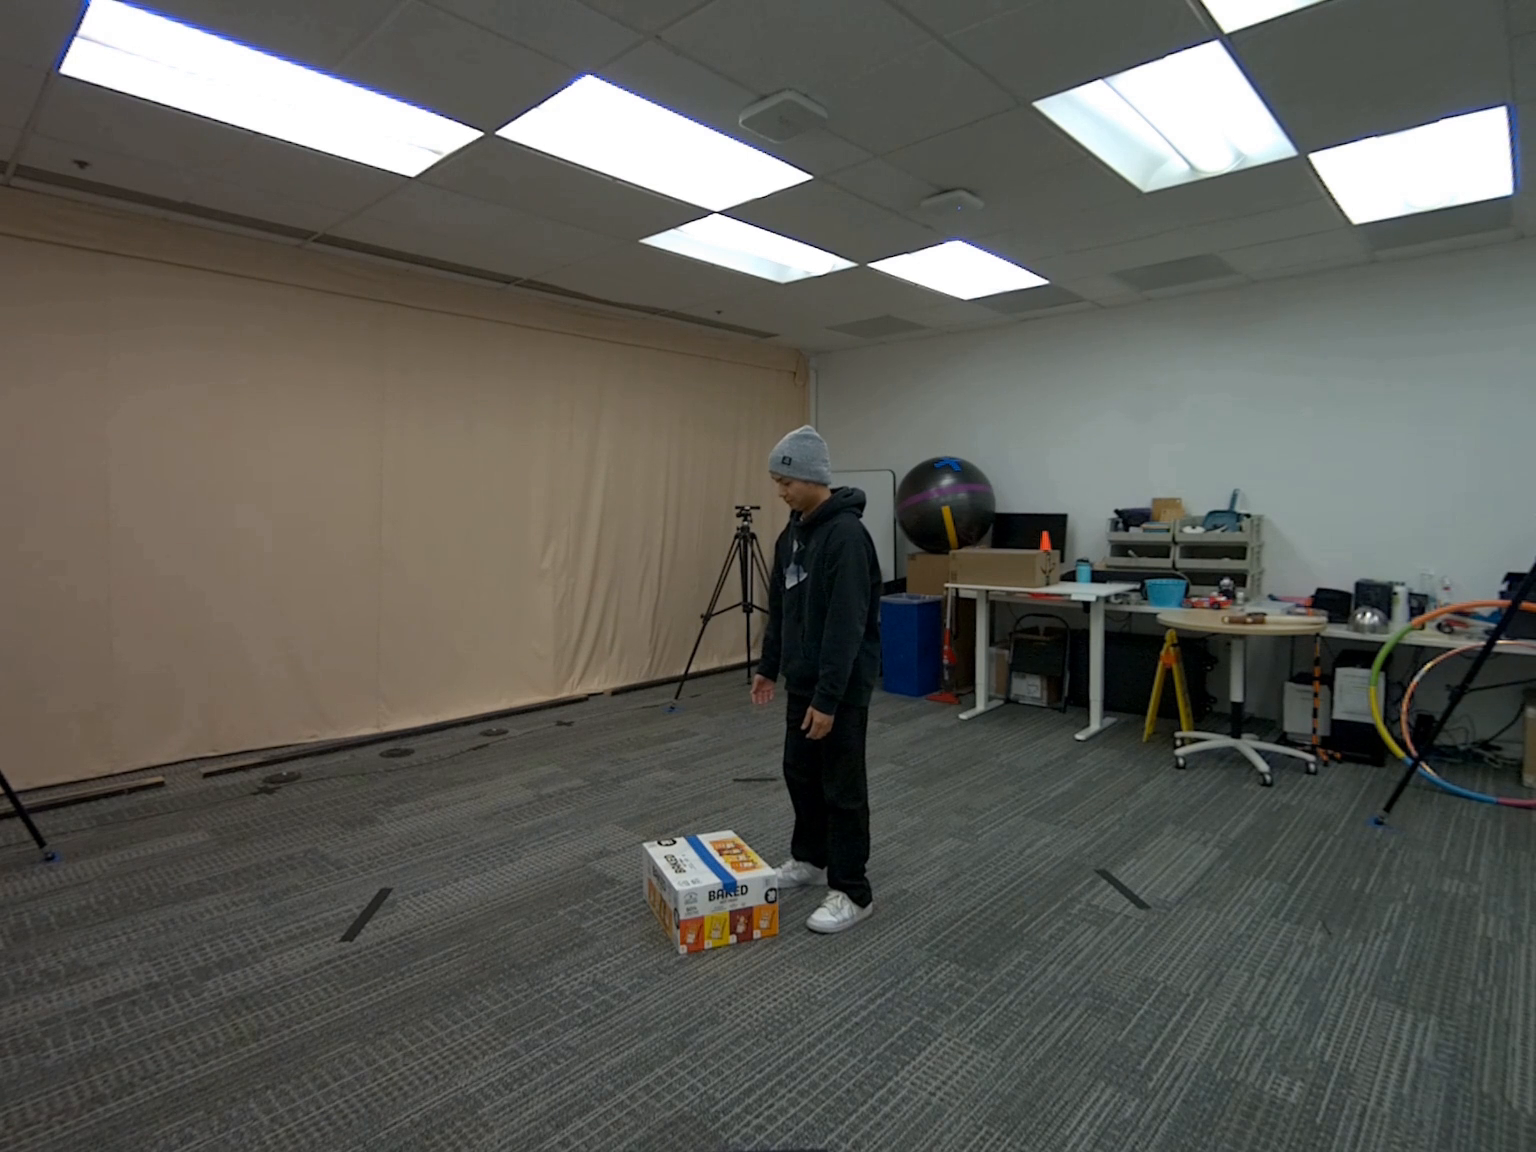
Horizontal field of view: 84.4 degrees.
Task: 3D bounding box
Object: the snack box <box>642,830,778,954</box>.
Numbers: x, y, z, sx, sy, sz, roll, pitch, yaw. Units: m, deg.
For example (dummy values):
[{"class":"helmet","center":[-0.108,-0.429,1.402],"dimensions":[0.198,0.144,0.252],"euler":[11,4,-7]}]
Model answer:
[{"class":"snack box","center":[-0.205,1.056,2.850],"dimensions":[0.333,0.205,0.415],"euler":[-2,4,-23]}]
